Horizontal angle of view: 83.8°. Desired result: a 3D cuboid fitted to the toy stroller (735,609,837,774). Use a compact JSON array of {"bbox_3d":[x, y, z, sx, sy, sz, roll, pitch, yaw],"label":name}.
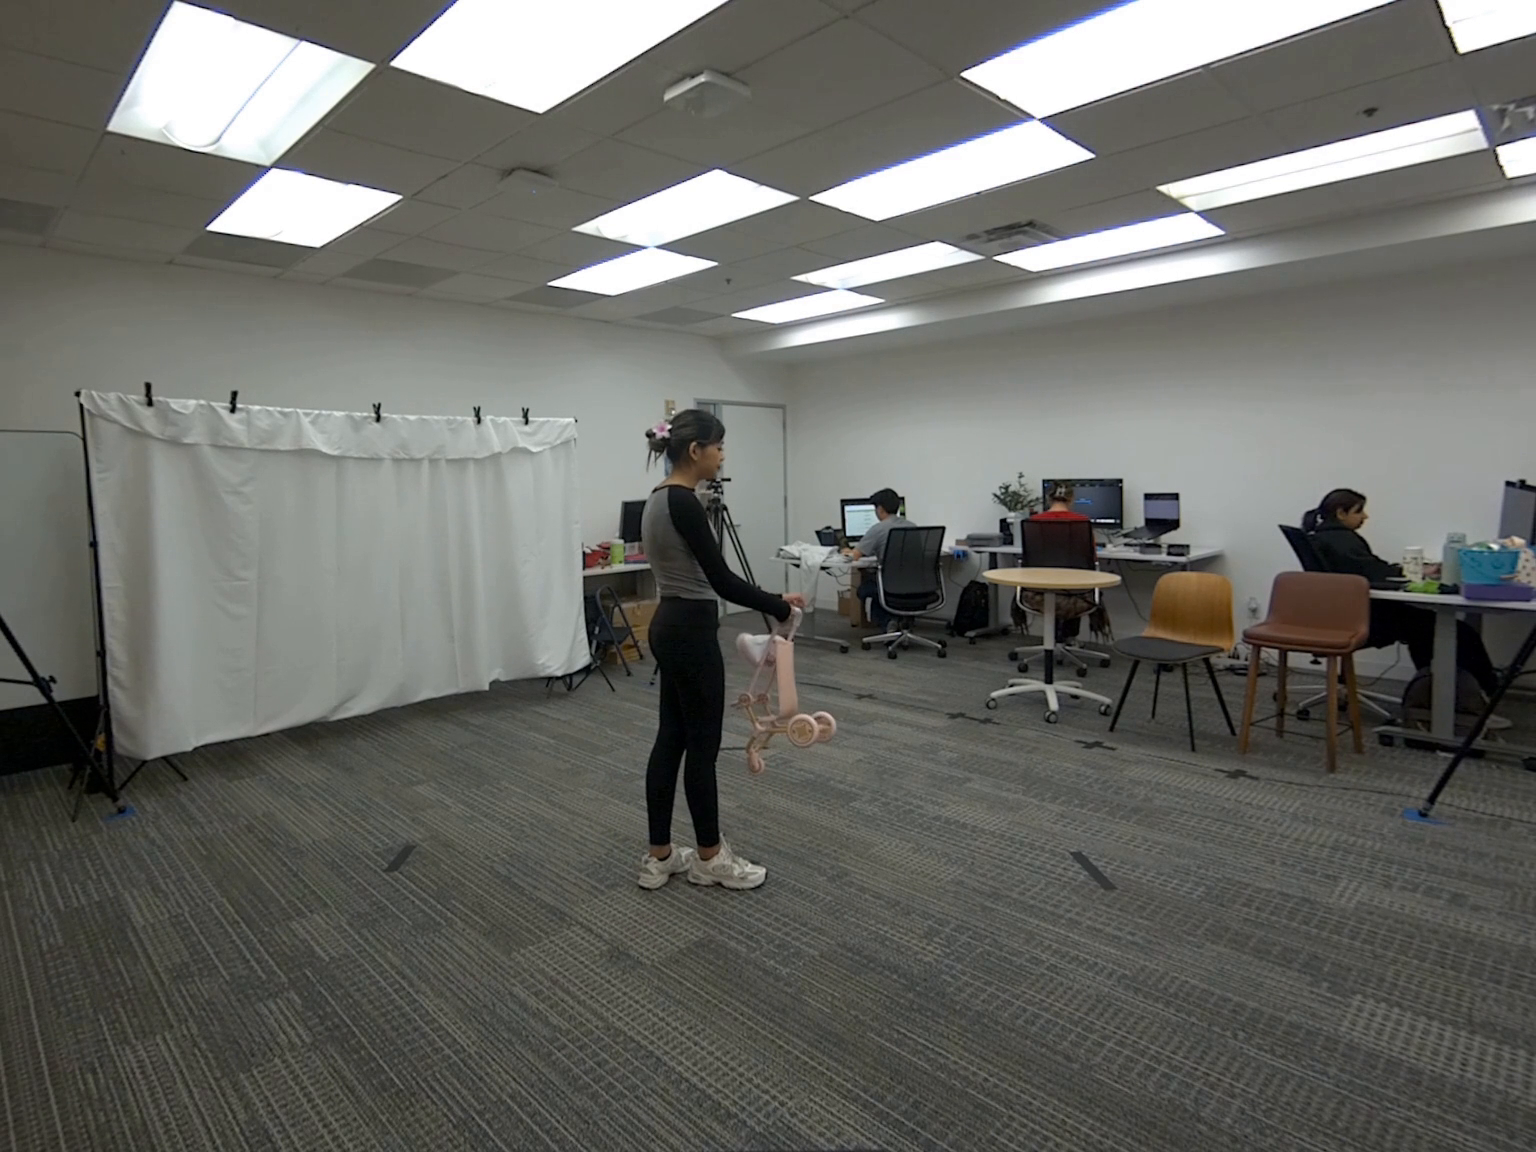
[{"bbox_3d":[0.019,0.419,3.068,0.345,0.543,0.274,-19,-14,21],"label":"toy stroller"}]
